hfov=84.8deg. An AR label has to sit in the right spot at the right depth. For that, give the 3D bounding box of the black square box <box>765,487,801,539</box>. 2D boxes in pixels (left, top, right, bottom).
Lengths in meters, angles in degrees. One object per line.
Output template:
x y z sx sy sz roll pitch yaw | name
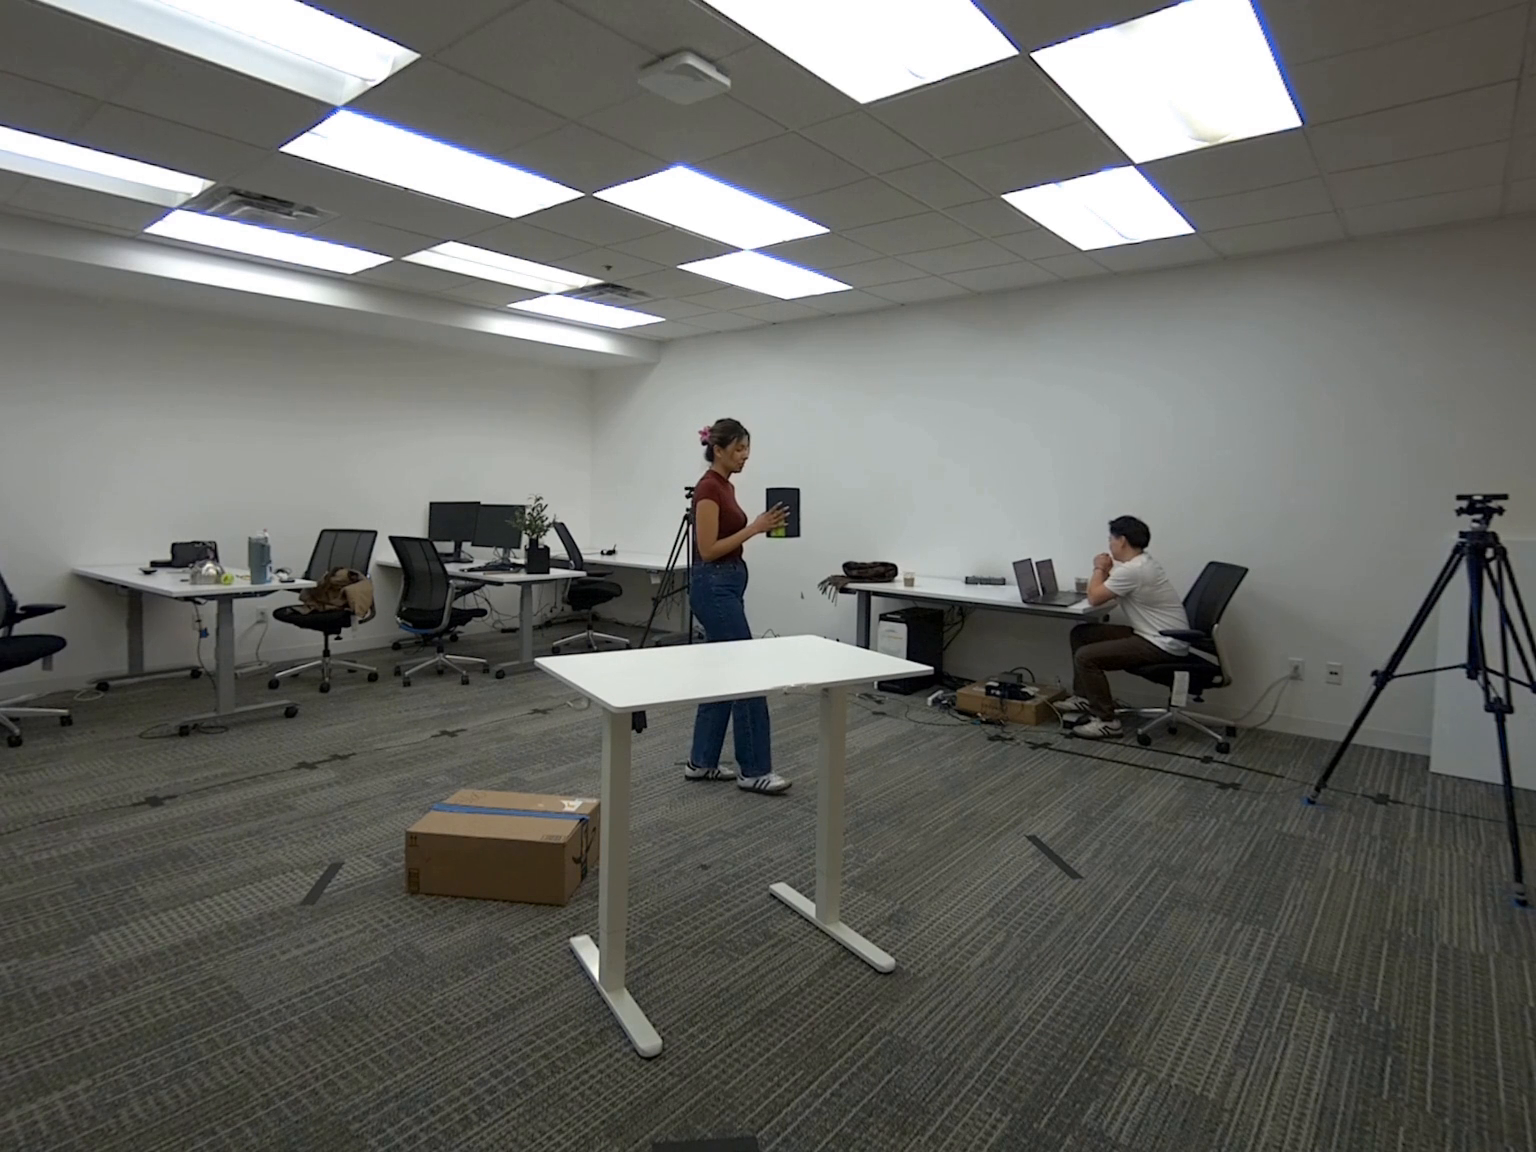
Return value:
0.054 -0.302 4.002 0.156 0.227 0.217 0 3 0 | black square box
